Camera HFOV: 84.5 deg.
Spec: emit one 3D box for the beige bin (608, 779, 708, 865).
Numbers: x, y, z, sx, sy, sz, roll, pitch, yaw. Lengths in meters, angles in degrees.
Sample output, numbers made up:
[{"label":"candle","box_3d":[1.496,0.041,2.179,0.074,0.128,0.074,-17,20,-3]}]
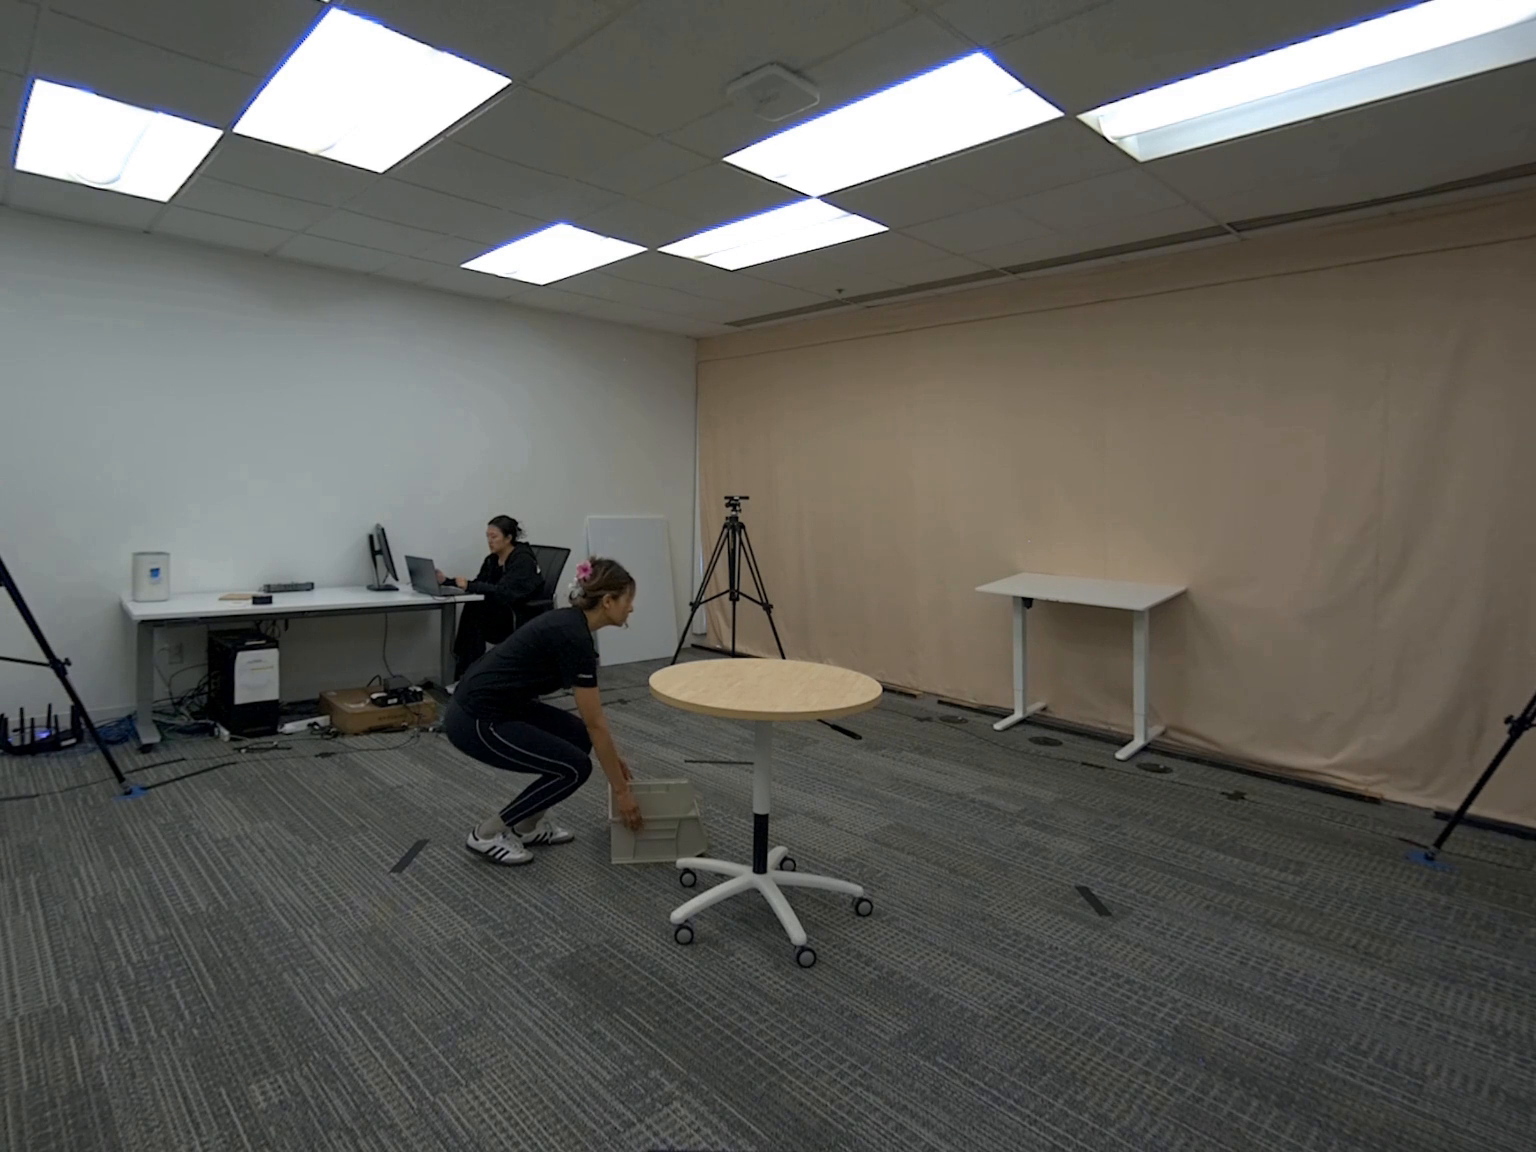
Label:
[{"label":"beige bin","box_3d":[-0.459,0.990,3.402,0.374,0.188,0.427,1,5,-11]}]
